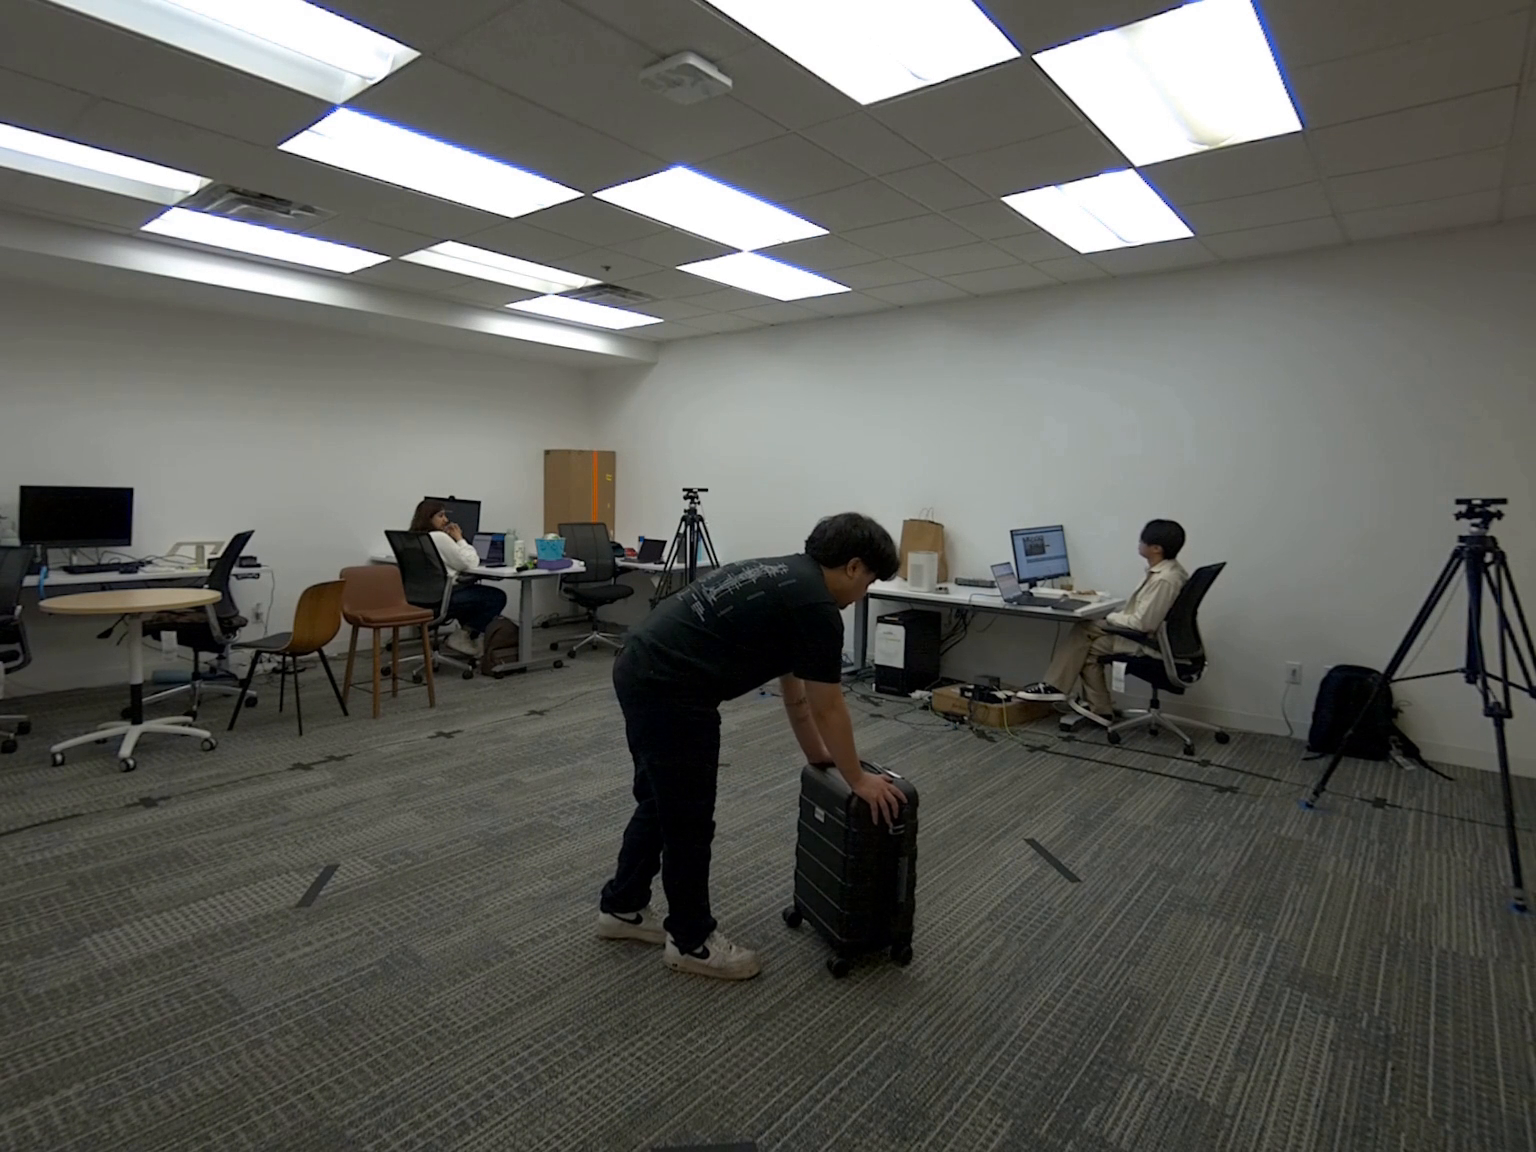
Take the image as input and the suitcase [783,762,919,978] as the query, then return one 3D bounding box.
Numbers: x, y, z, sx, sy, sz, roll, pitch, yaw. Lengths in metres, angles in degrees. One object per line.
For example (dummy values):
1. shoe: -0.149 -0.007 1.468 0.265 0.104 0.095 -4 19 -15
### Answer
1. suitcase: 0.256 0.853 2.613 0.242 0.548 0.385 2 3 -26
